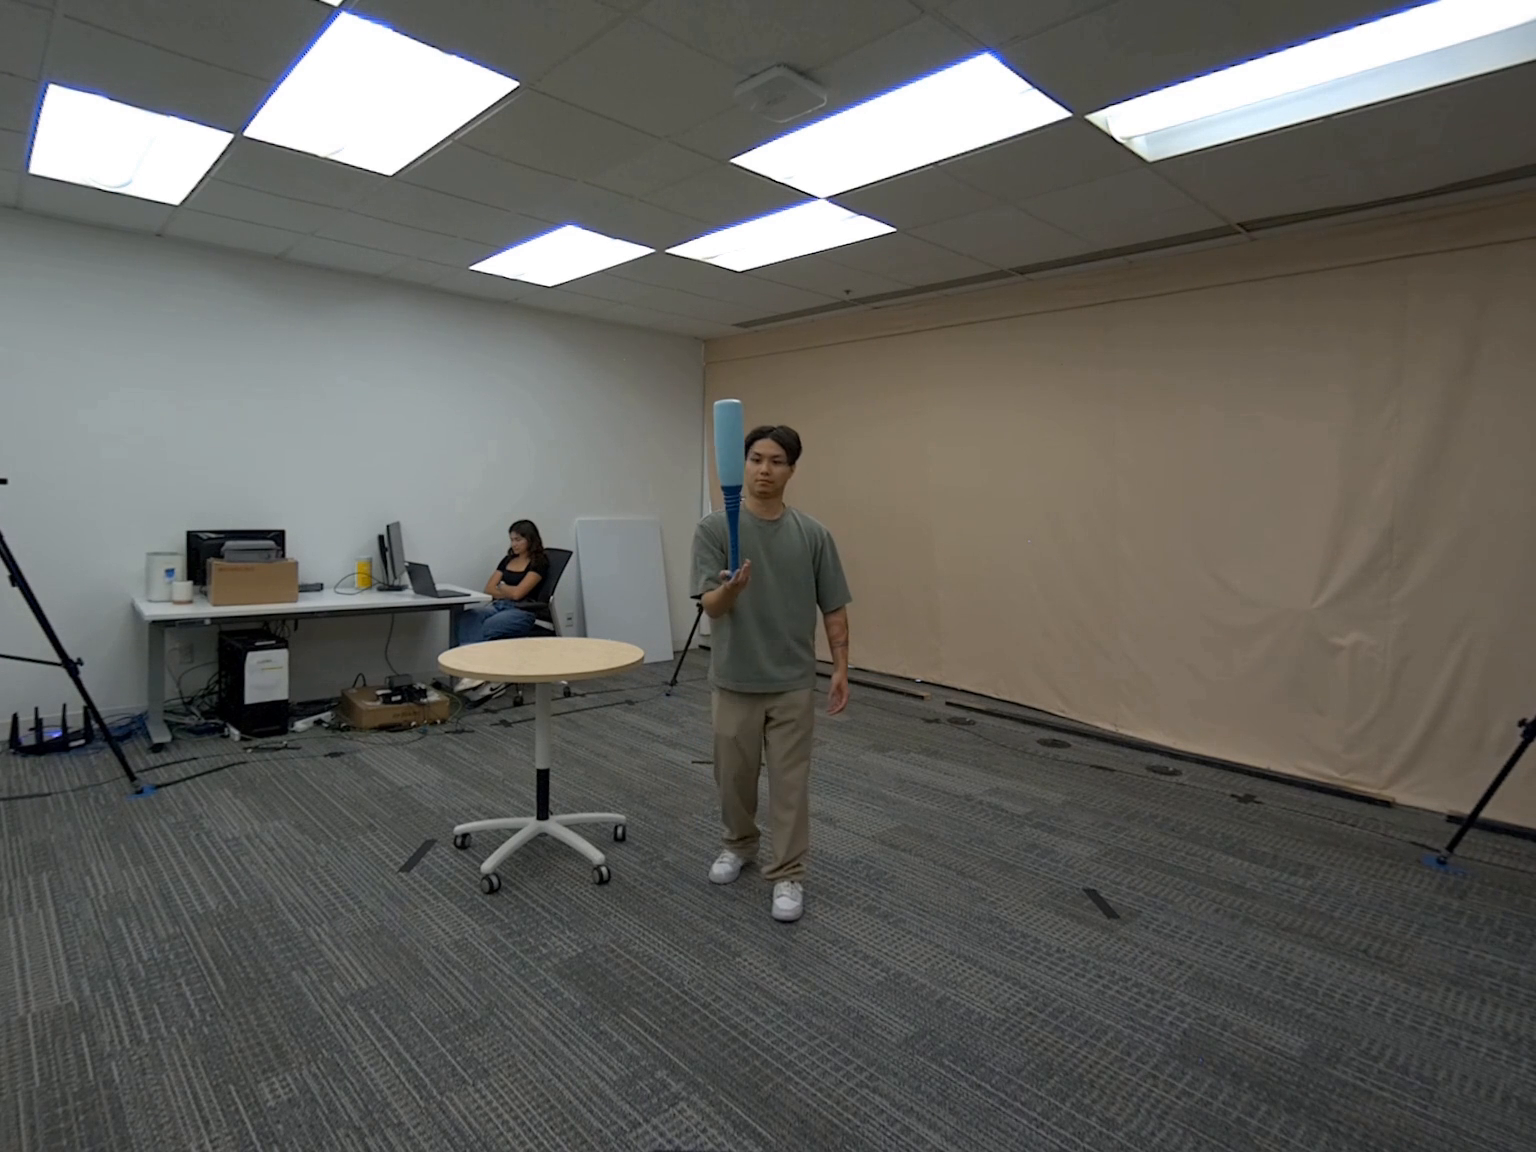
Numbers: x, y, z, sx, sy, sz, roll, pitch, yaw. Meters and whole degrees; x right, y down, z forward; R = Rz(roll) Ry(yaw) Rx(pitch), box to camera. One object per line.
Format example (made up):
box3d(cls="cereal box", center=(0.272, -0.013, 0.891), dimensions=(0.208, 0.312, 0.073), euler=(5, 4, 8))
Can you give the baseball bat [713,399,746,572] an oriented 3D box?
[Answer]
box3d(cls="baseball bat", center=(-0.117, -0.251, 2.502), dimensions=(0.089, 0.540, 0.089), euler=(-2, 6, -1))
